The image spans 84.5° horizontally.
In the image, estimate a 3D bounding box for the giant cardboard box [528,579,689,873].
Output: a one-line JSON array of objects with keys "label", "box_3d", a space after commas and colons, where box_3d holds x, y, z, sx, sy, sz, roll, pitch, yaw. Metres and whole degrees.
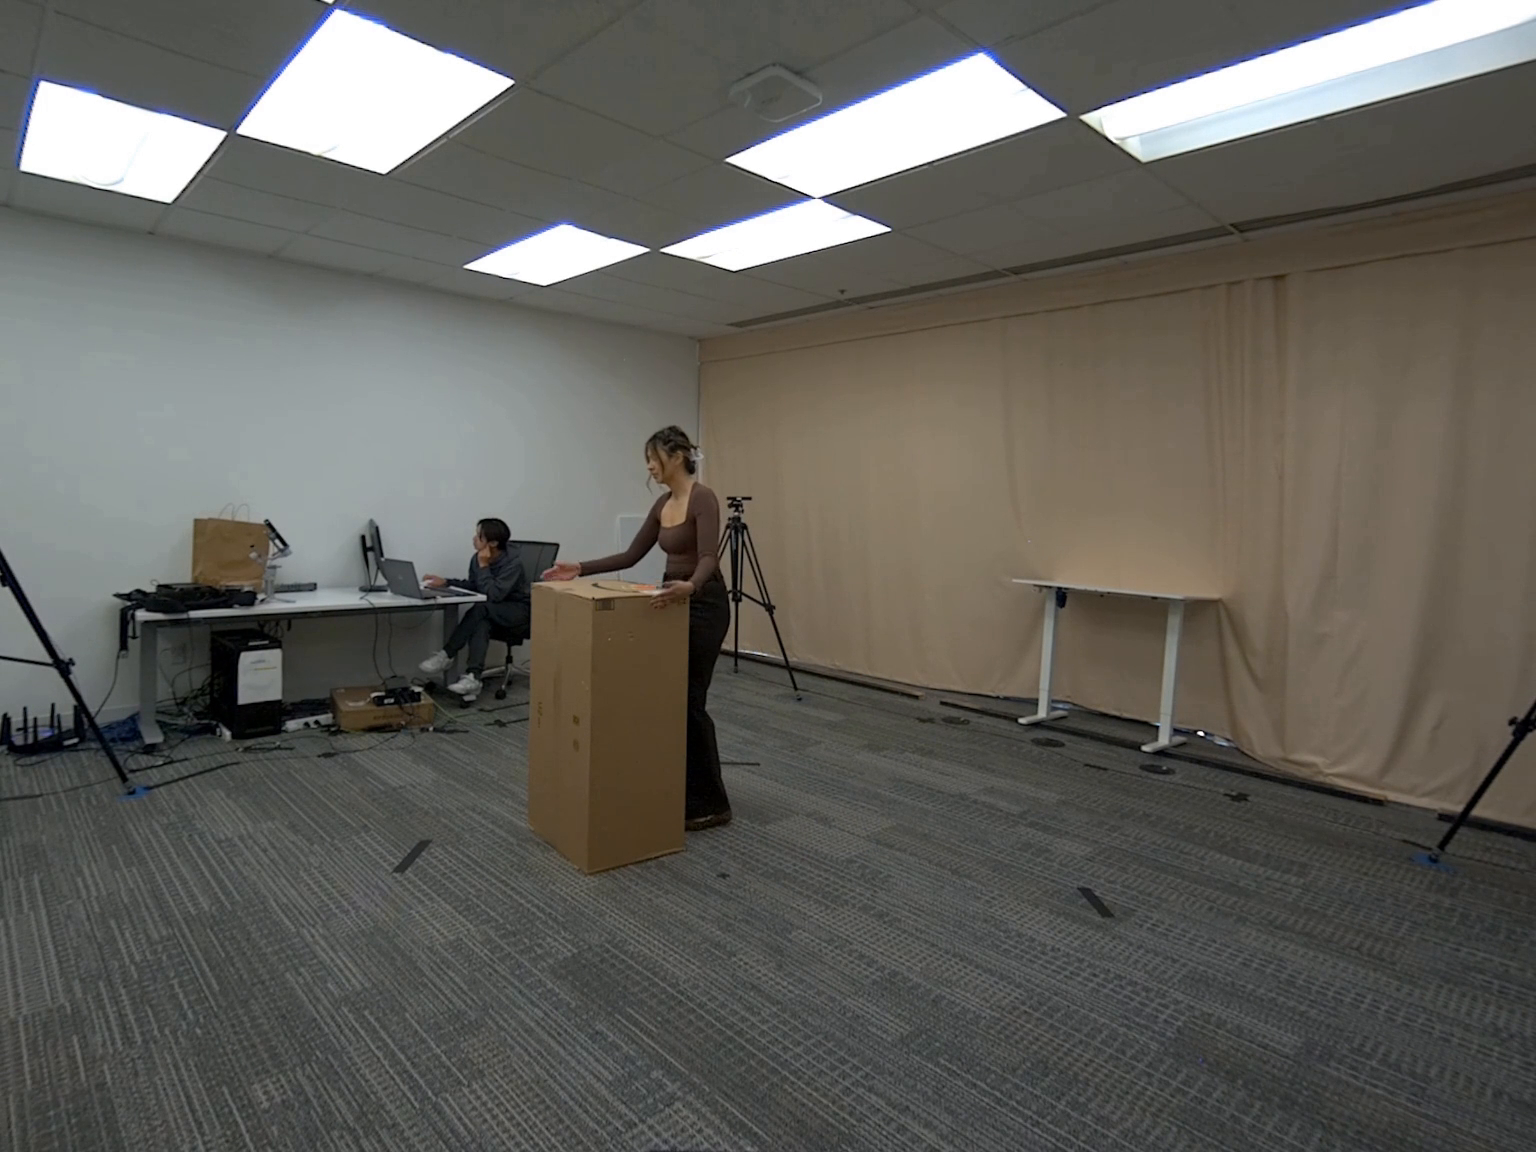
[{"label": "giant cardboard box", "box_3d": [-0.664, 0.557, 3.401, 0.437, 1.025, 0.598, 0, 3, -36]}]
